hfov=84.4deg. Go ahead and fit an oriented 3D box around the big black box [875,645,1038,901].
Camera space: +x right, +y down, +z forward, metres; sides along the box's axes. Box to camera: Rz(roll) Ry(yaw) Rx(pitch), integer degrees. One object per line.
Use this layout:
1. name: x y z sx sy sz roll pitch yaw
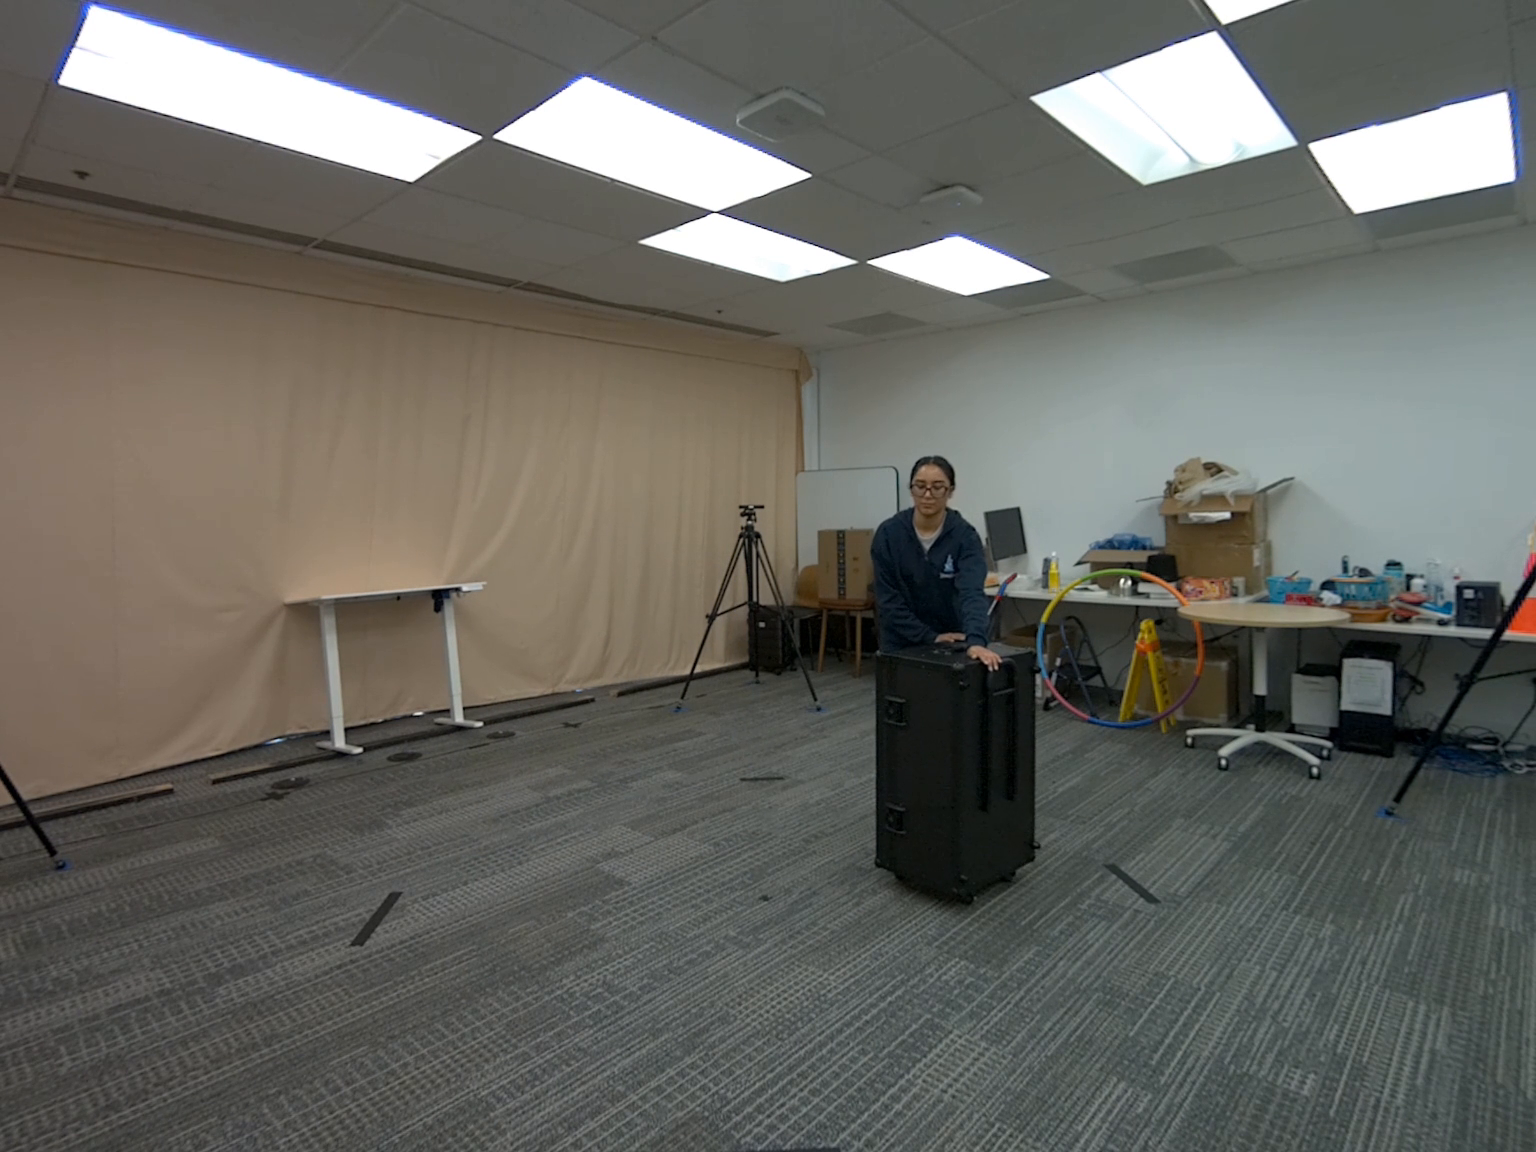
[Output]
1. big black box: 0.694 0.698 3.058 0.505 0.859 0.409 -3 5 -42
